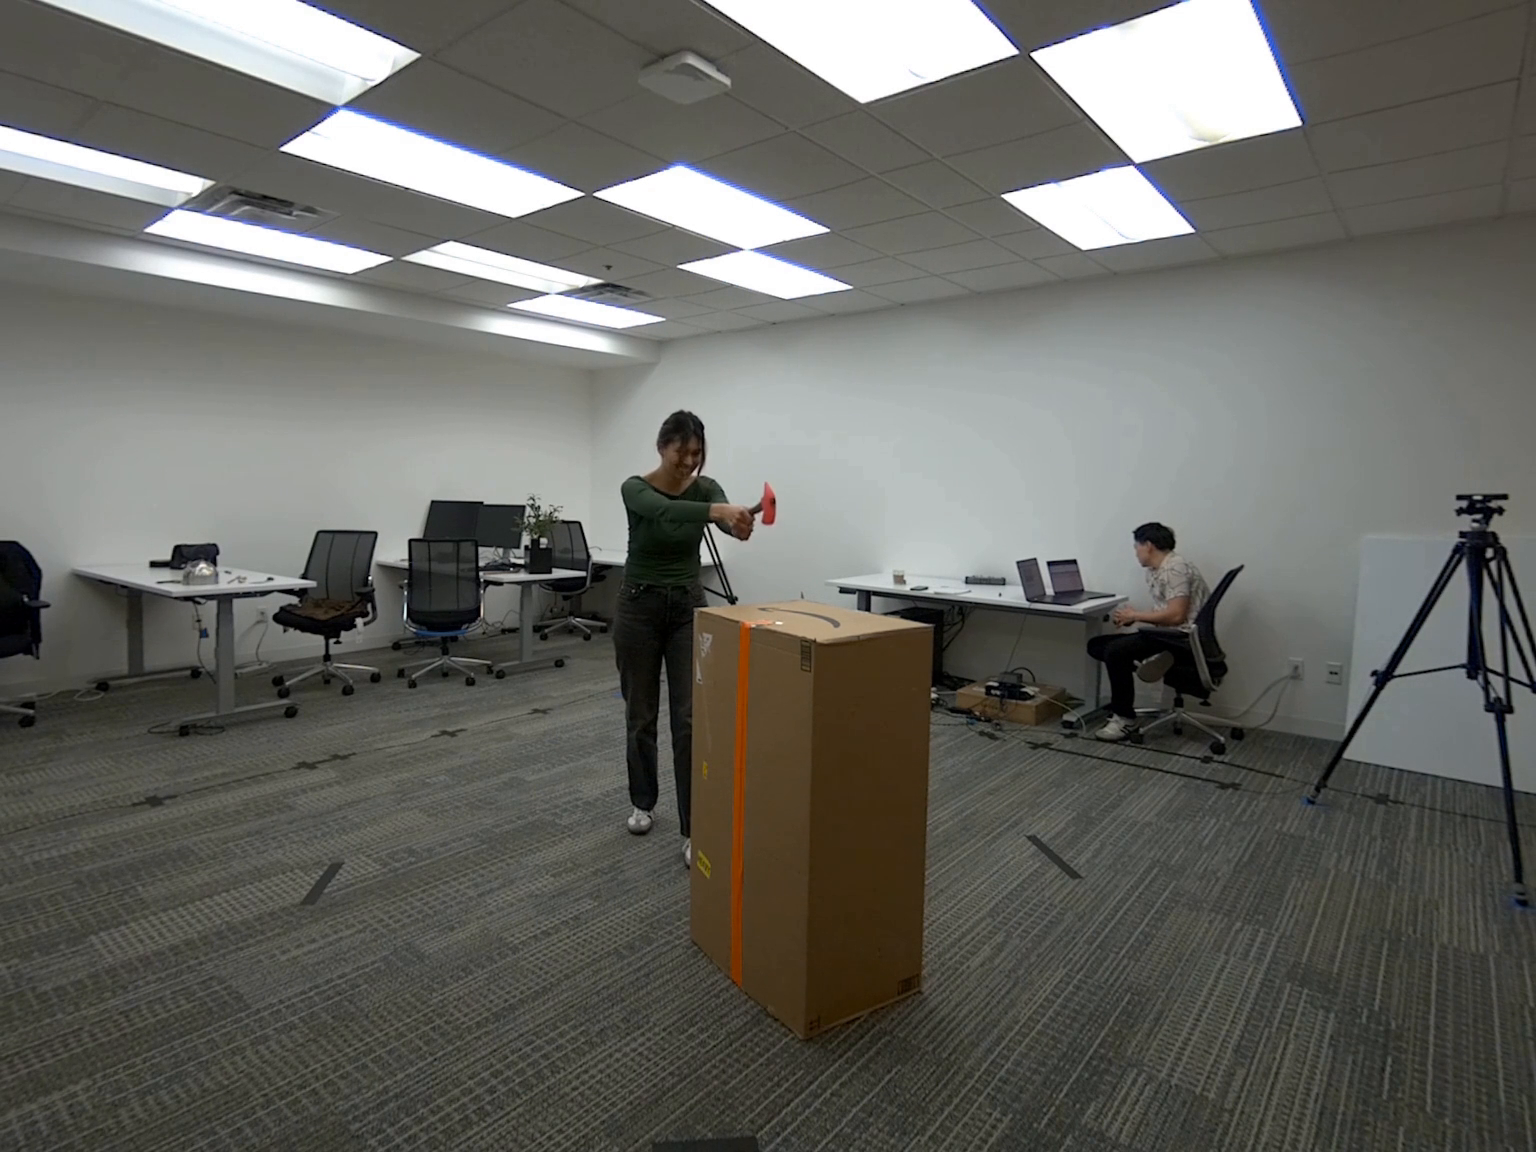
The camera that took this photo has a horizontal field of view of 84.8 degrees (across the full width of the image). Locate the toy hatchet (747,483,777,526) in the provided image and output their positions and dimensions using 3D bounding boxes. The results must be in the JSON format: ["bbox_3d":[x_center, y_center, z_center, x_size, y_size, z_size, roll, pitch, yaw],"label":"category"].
[{"bbox_3d":[-0.053,-0.177,2.691,0.029,0.135,0.269,-4,-30,-33],"label":"toy hatchet"}]
